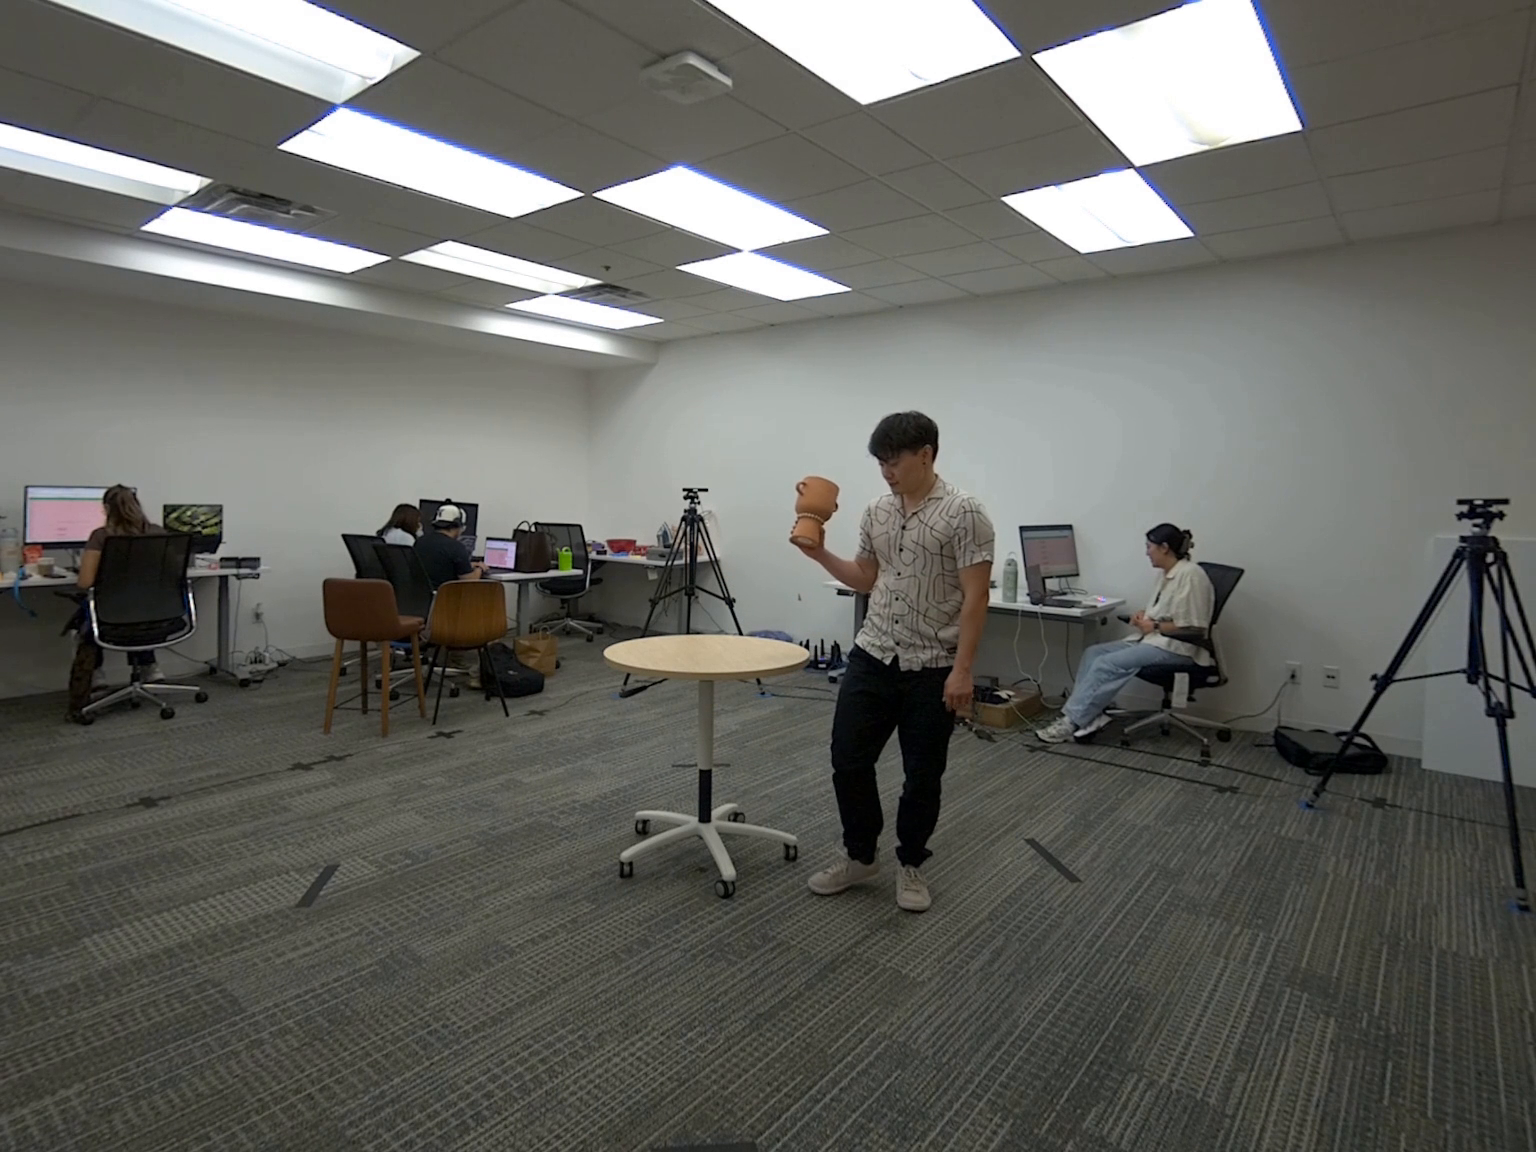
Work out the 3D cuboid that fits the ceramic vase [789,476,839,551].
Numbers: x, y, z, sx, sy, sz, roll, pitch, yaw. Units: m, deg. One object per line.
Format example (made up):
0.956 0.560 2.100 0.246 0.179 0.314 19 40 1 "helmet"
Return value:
0.148 -0.224 2.957 0.160 0.222 0.132 16 -16 6 "ceramic vase"
